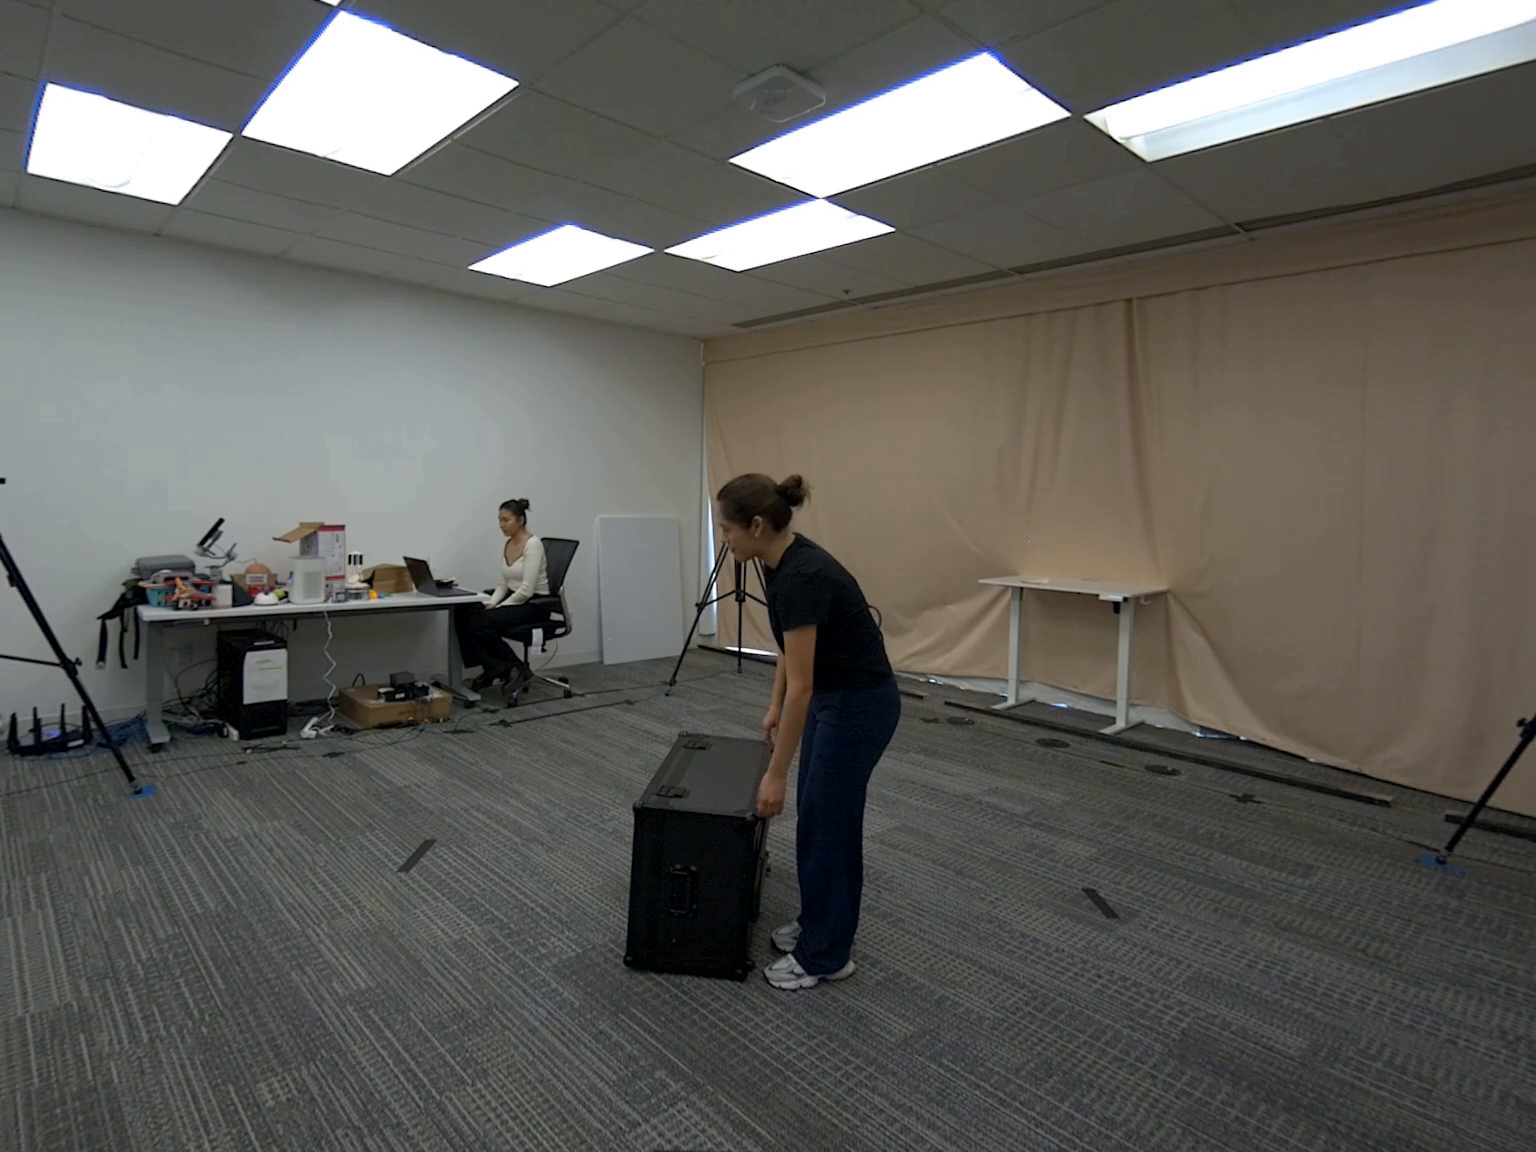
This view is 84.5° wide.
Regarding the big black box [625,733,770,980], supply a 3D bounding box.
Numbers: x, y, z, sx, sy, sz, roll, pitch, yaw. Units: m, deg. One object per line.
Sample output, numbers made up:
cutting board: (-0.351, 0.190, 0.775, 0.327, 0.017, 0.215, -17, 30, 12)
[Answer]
big black box: (-0.187, 0.874, 2.832, 0.398, 0.519, 0.860, 4, 5, 4)
